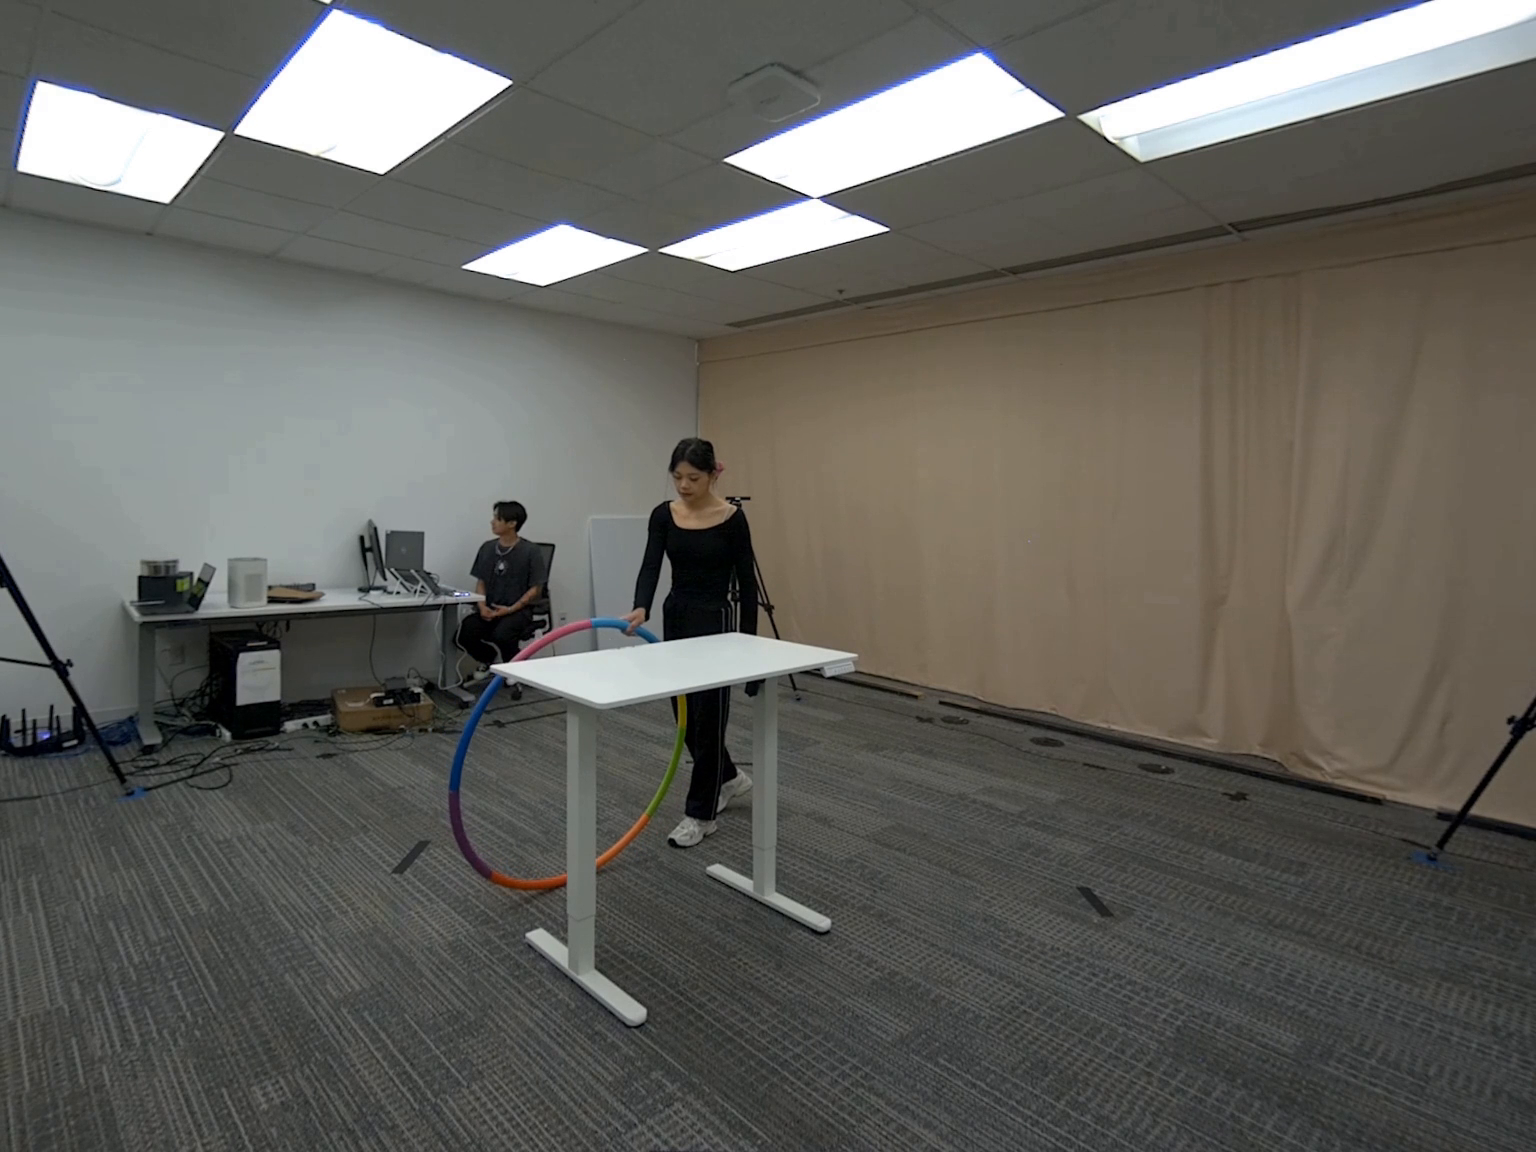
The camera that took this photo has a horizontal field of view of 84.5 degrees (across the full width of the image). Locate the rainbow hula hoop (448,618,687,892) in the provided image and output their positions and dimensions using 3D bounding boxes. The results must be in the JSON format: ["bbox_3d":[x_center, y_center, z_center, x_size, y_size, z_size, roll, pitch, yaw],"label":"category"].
[{"bbox_3d":[-0.669,0.627,2.954,0.036,0.973,0.957,14,12,40],"label":"rainbow hula hoop"}]
